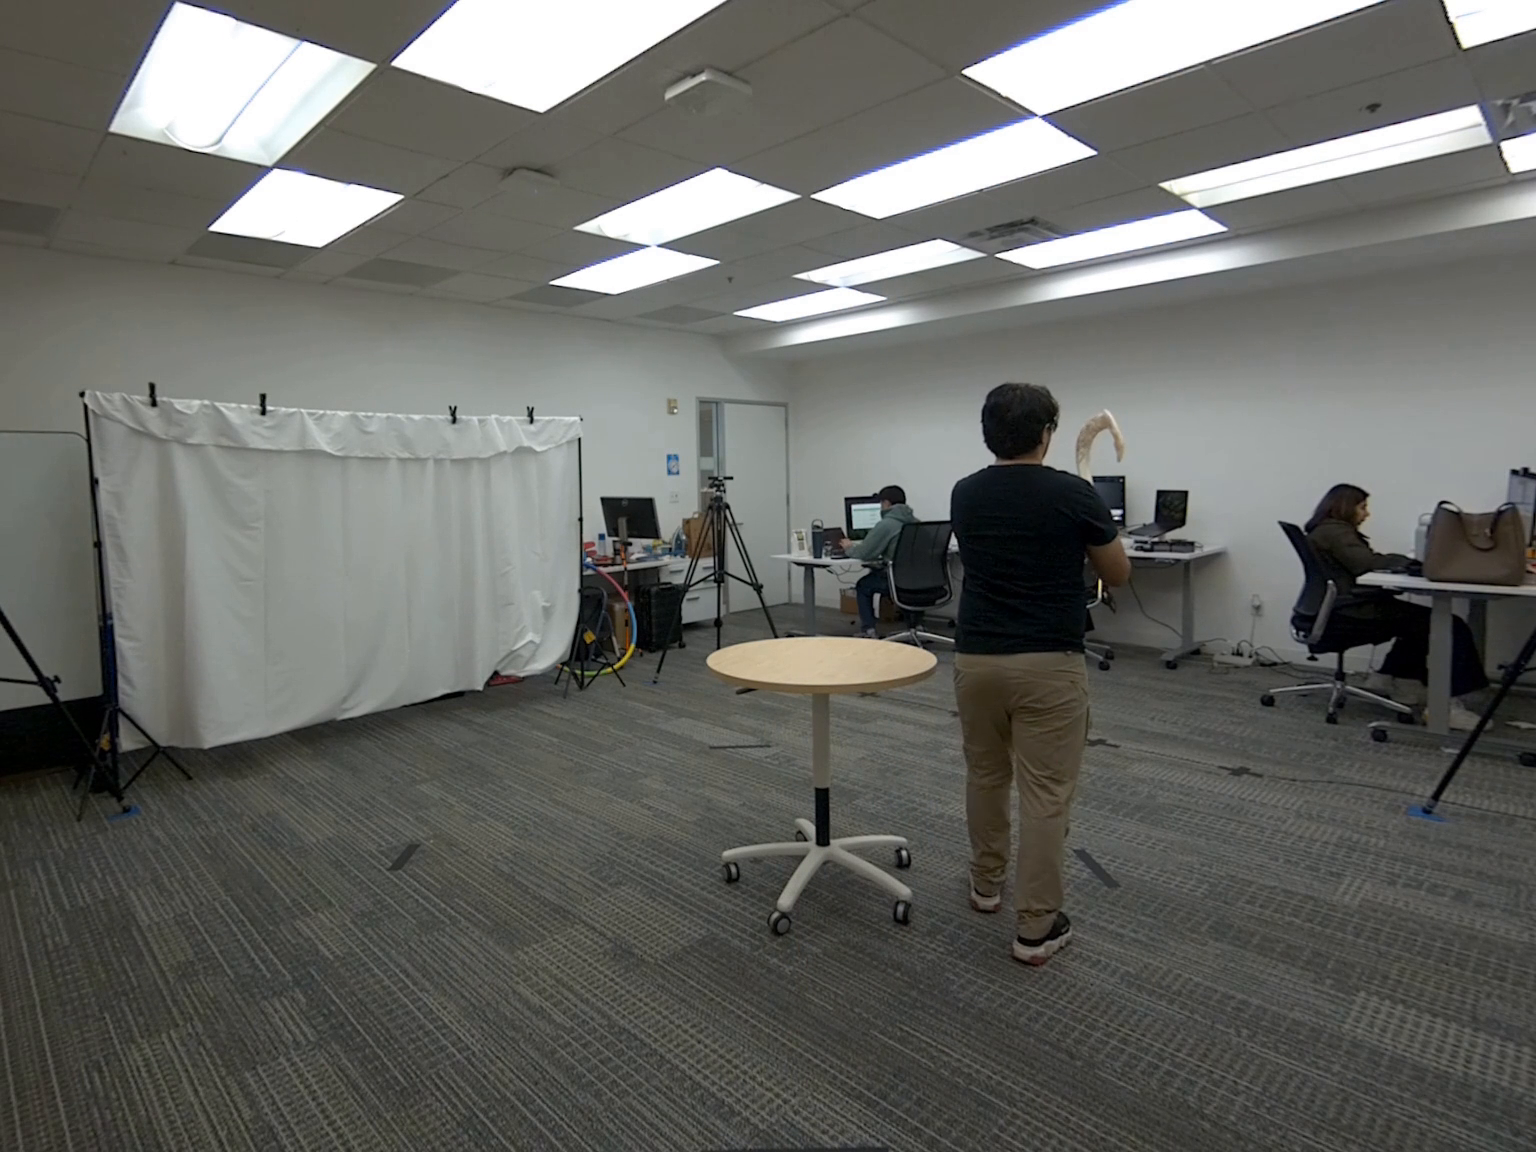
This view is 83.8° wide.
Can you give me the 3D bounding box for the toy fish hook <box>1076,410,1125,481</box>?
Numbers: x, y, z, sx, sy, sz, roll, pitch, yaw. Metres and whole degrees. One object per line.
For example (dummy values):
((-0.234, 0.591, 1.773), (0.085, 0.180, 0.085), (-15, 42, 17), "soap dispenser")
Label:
((1.108, -0.297, 2.799), (0.048, 0.512, 0.223), (3, -13, -7), "toy fish hook")
